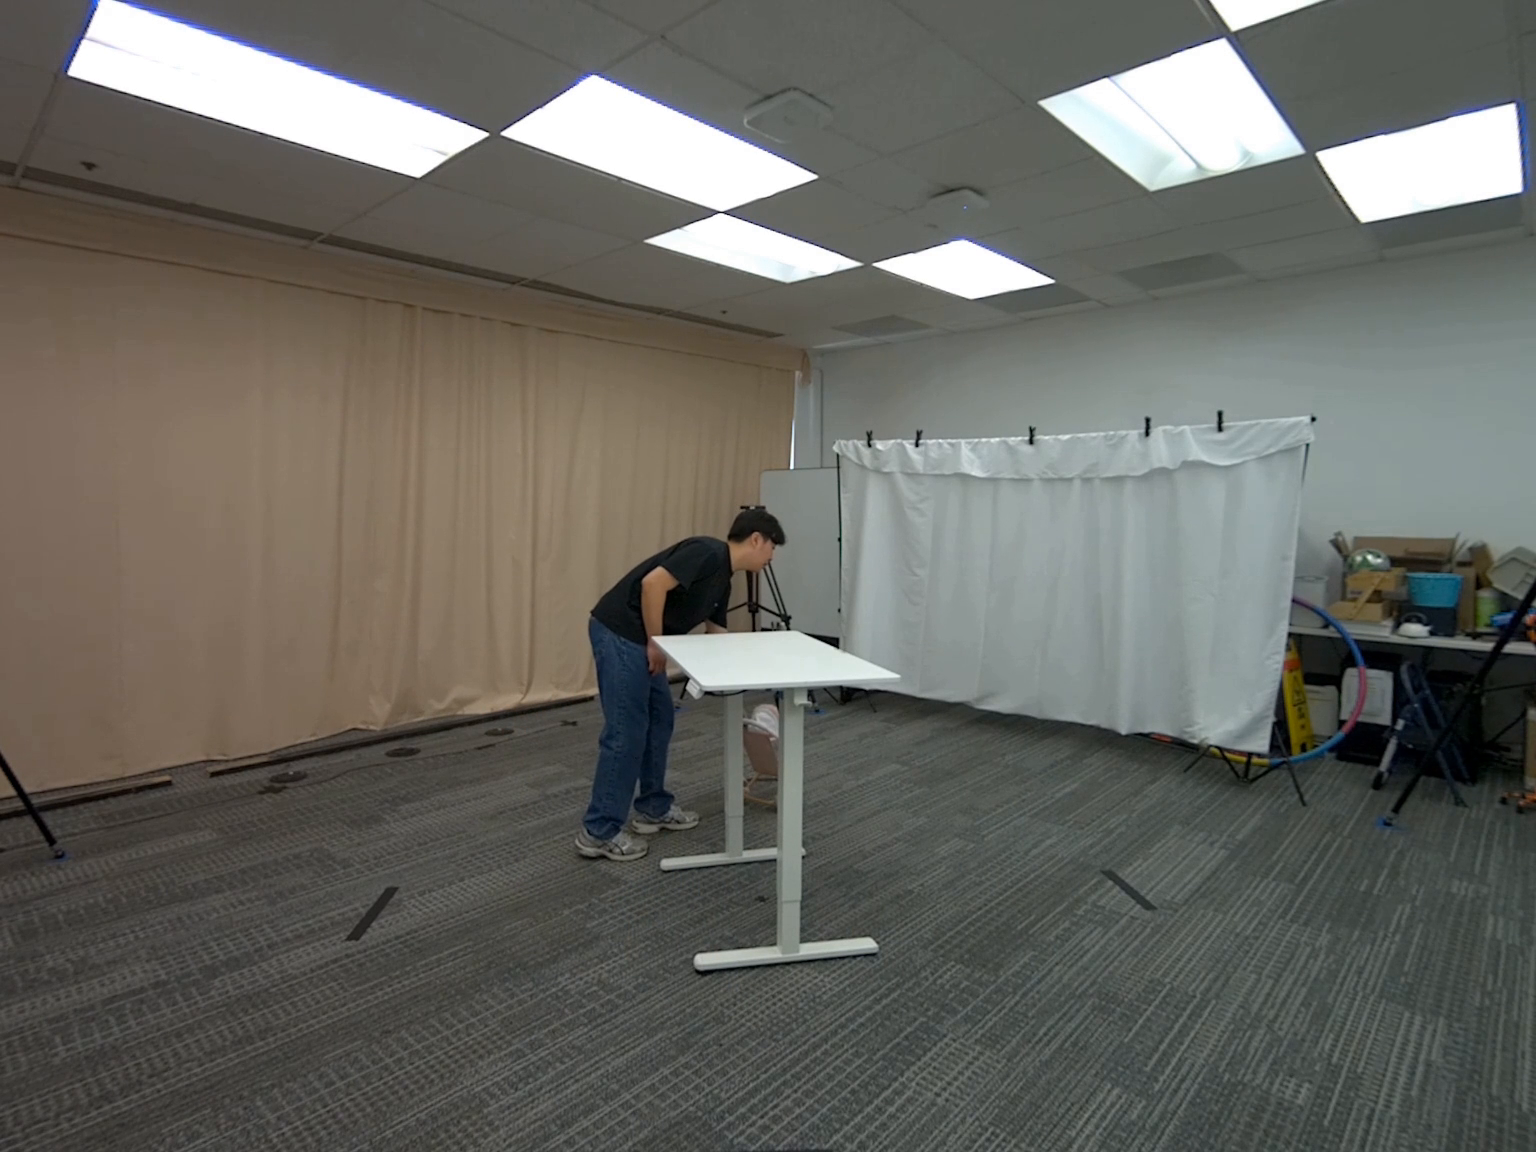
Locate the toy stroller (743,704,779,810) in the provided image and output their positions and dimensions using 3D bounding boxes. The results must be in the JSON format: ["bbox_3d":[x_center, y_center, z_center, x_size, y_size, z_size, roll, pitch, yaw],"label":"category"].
[{"bbox_3d":[0.009,0.845,3.989,0.290,0.528,0.335,4,20,35],"label":"toy stroller"}]
